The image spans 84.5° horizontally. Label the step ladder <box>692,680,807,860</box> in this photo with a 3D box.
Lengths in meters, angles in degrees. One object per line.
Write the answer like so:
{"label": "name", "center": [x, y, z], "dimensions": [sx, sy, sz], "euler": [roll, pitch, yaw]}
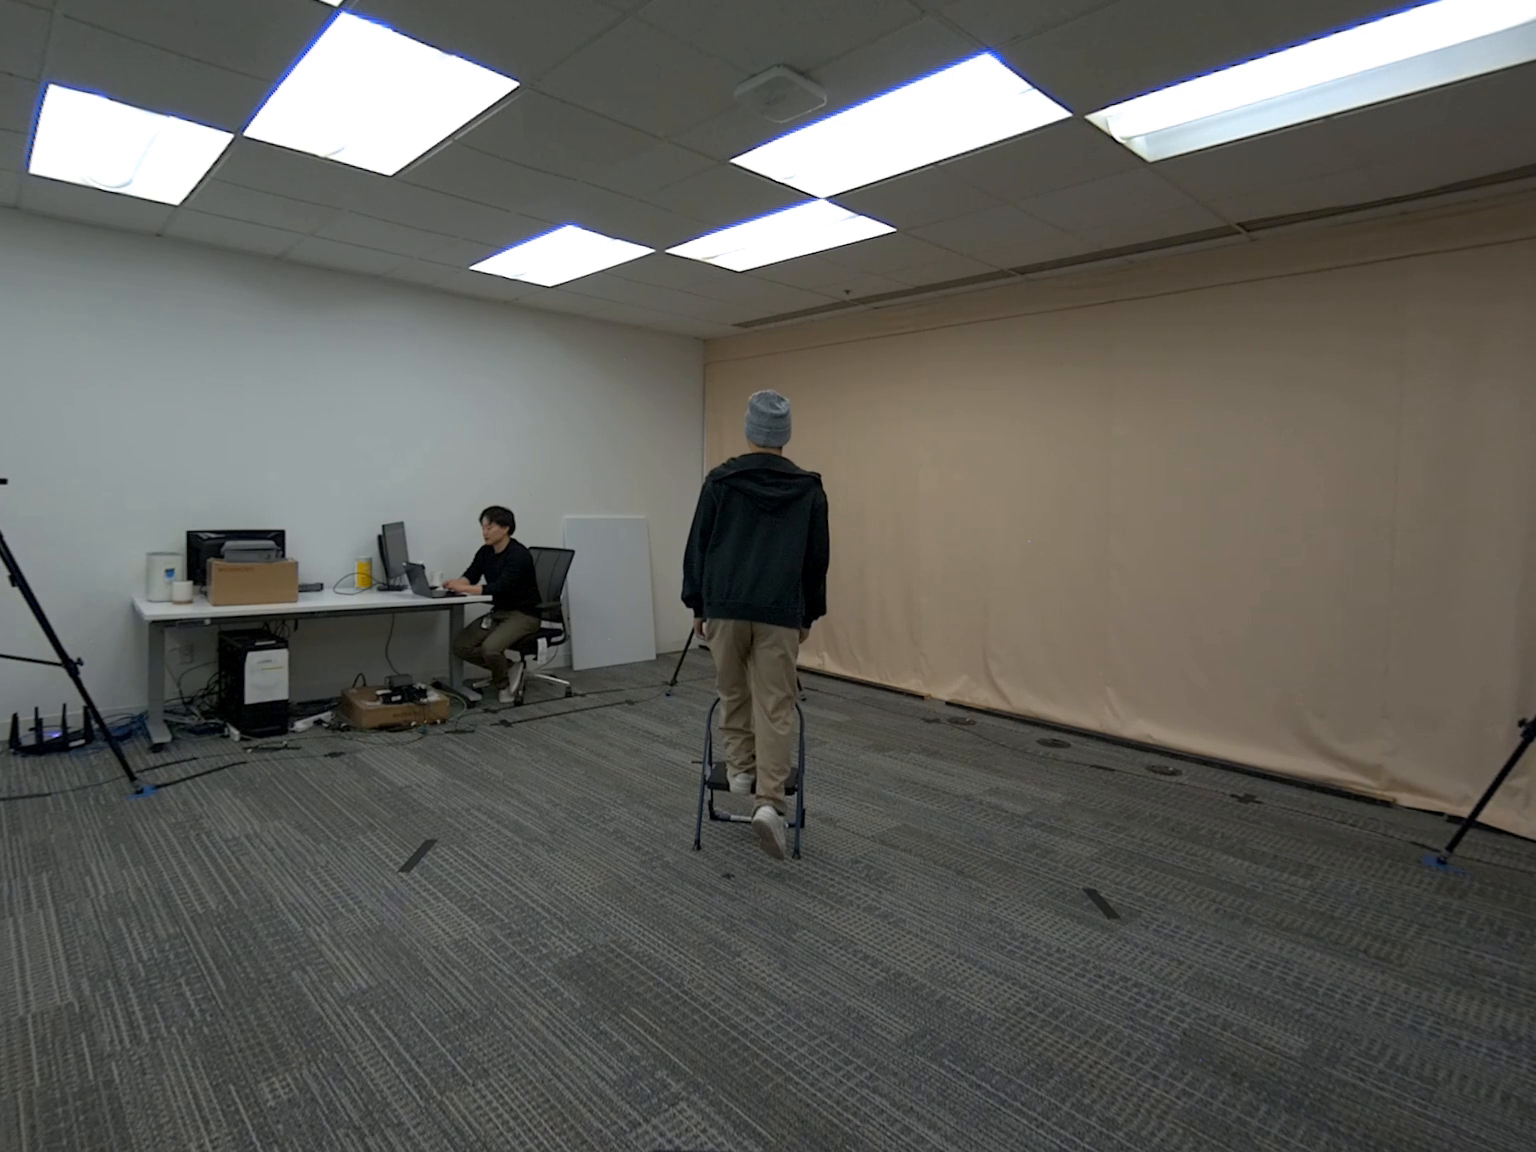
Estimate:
{"label": "step ladder", "center": [-0.067, 0.781, 3.453], "dimensions": [0.433, 0.604, 0.348], "euler": [2, 4, 7]}
